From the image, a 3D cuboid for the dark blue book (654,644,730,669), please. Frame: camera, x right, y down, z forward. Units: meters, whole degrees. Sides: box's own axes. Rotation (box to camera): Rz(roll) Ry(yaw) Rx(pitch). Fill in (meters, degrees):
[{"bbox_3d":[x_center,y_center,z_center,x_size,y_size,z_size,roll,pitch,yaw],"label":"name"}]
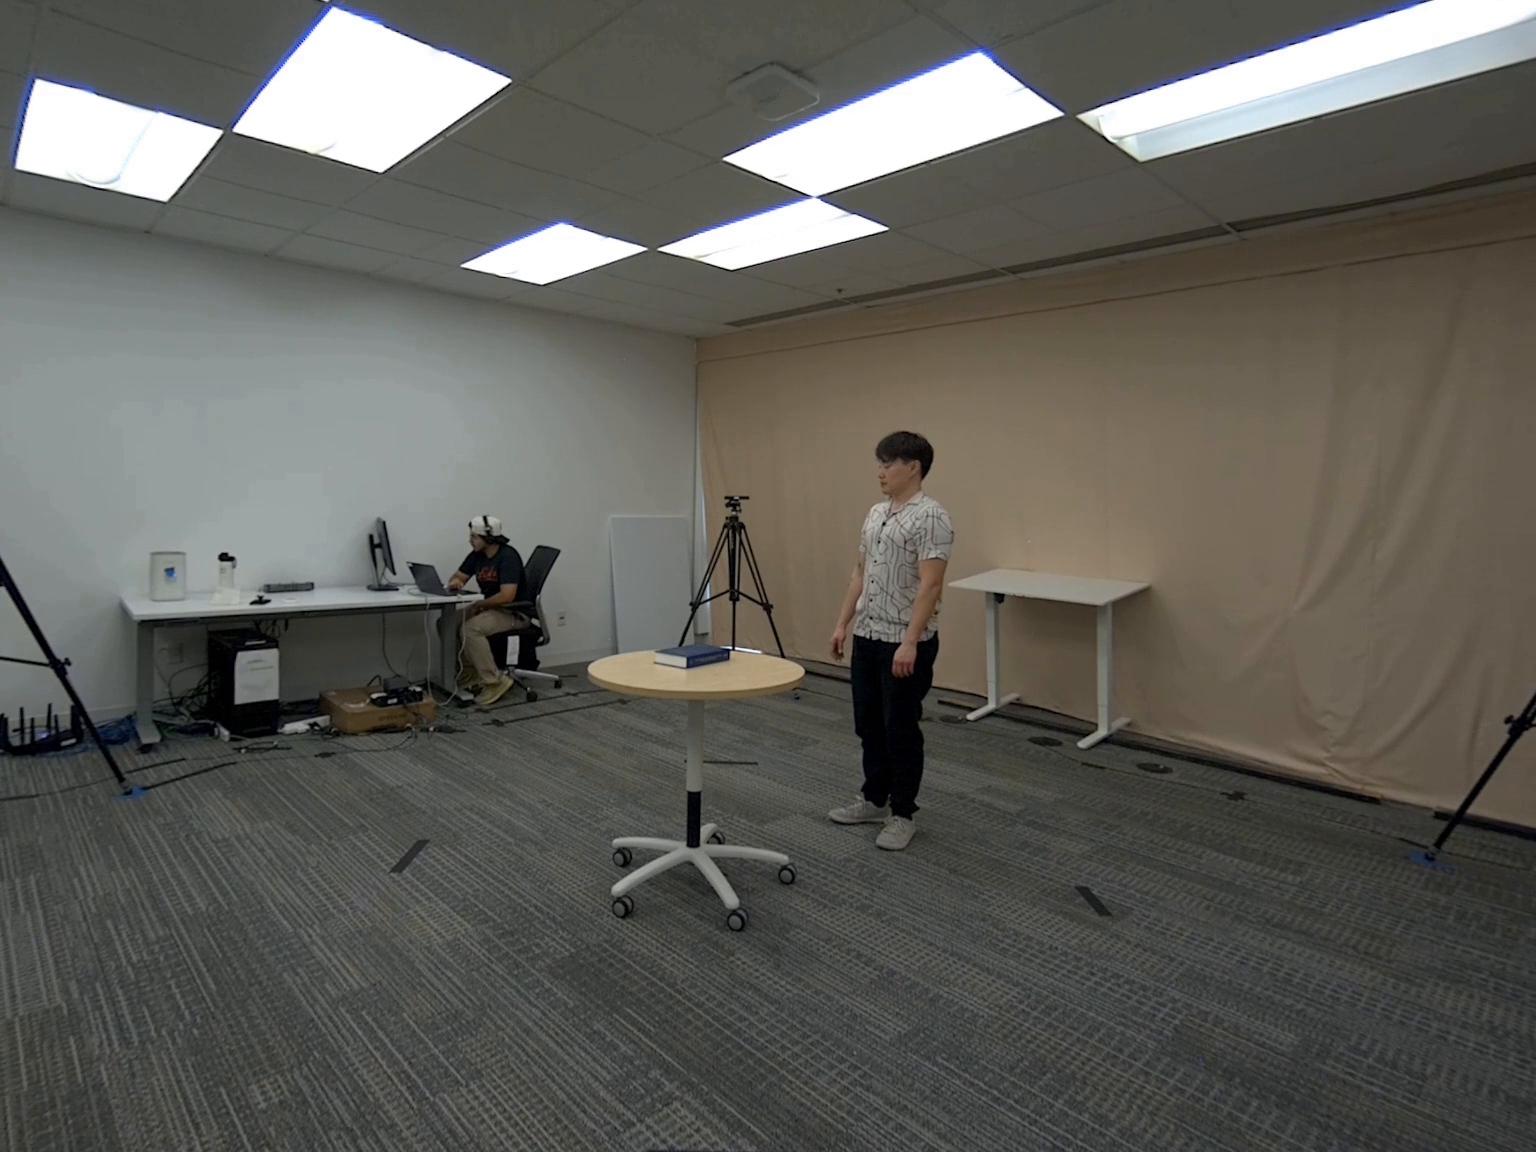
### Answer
[{"bbox_3d":[-0.291,0.294,3.107,0.167,0.045,0.240,5,6,37],"label":"dark blue book"}]
